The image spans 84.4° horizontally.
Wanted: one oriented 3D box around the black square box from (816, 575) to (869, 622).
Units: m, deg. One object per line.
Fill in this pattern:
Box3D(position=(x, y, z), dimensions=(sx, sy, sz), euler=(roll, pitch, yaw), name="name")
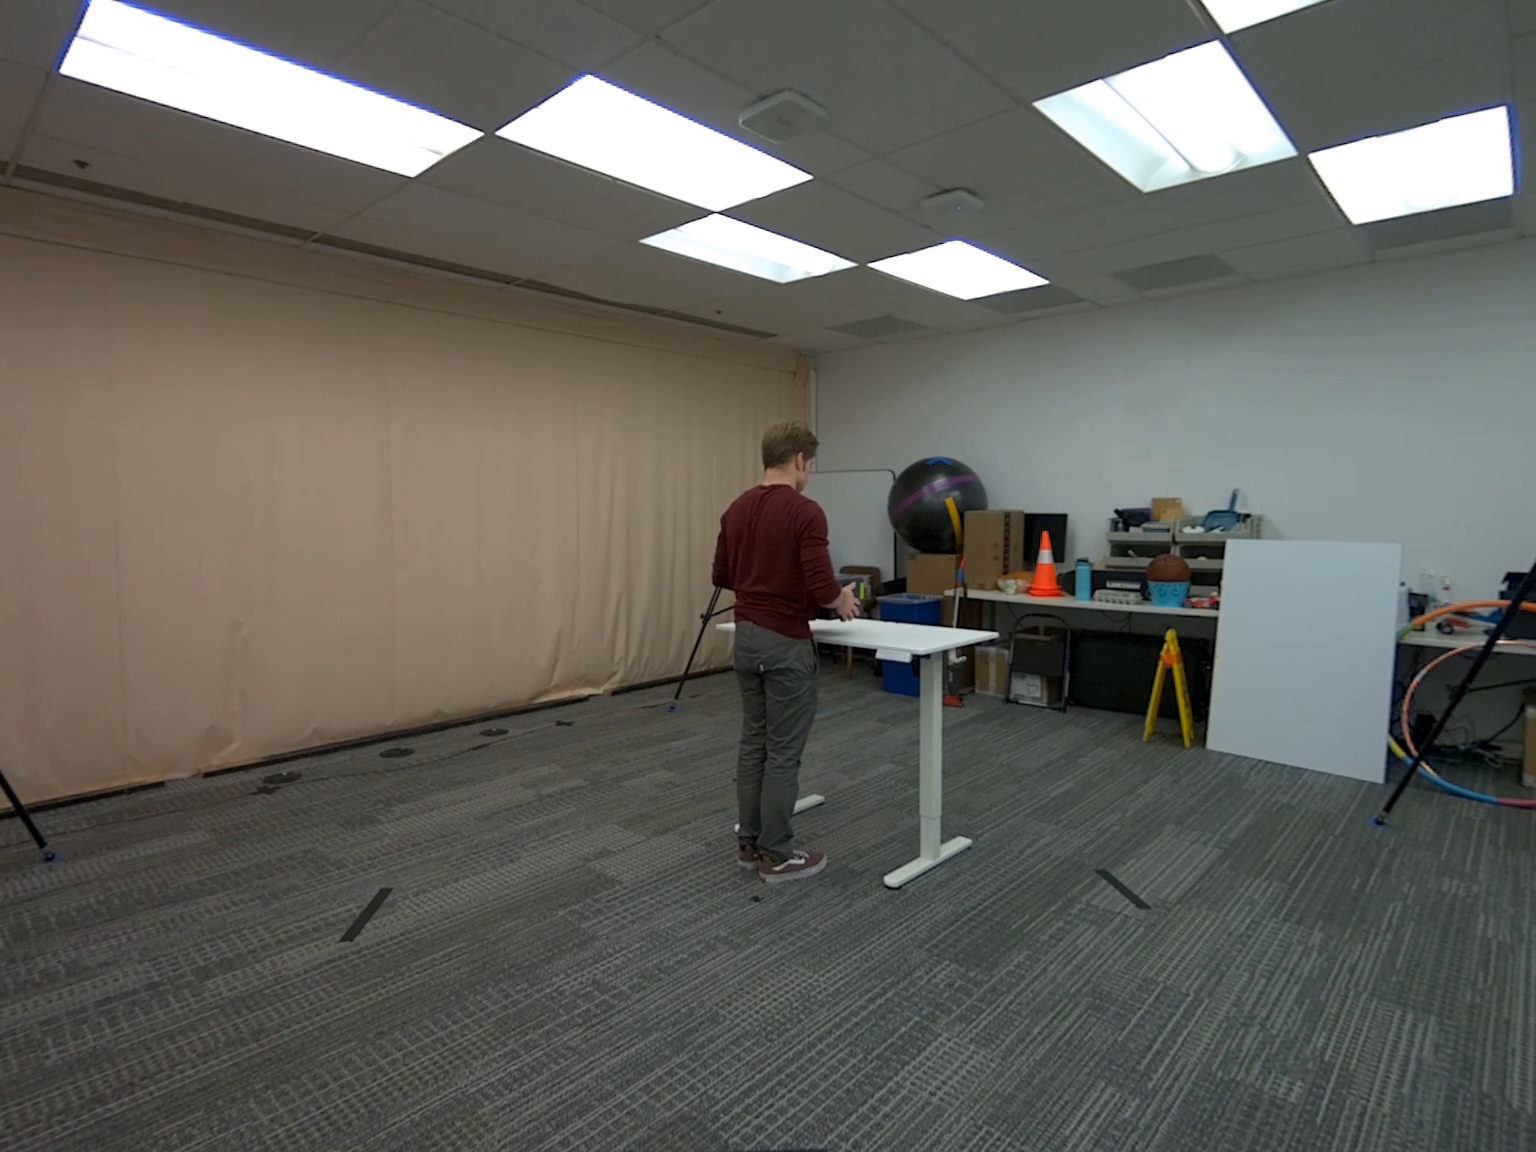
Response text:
Box3D(position=(0.238, 0.079, 3.348), dimensions=(0.235, 0.155, 0.210), euler=(4, 4, 43), name="black square box")
